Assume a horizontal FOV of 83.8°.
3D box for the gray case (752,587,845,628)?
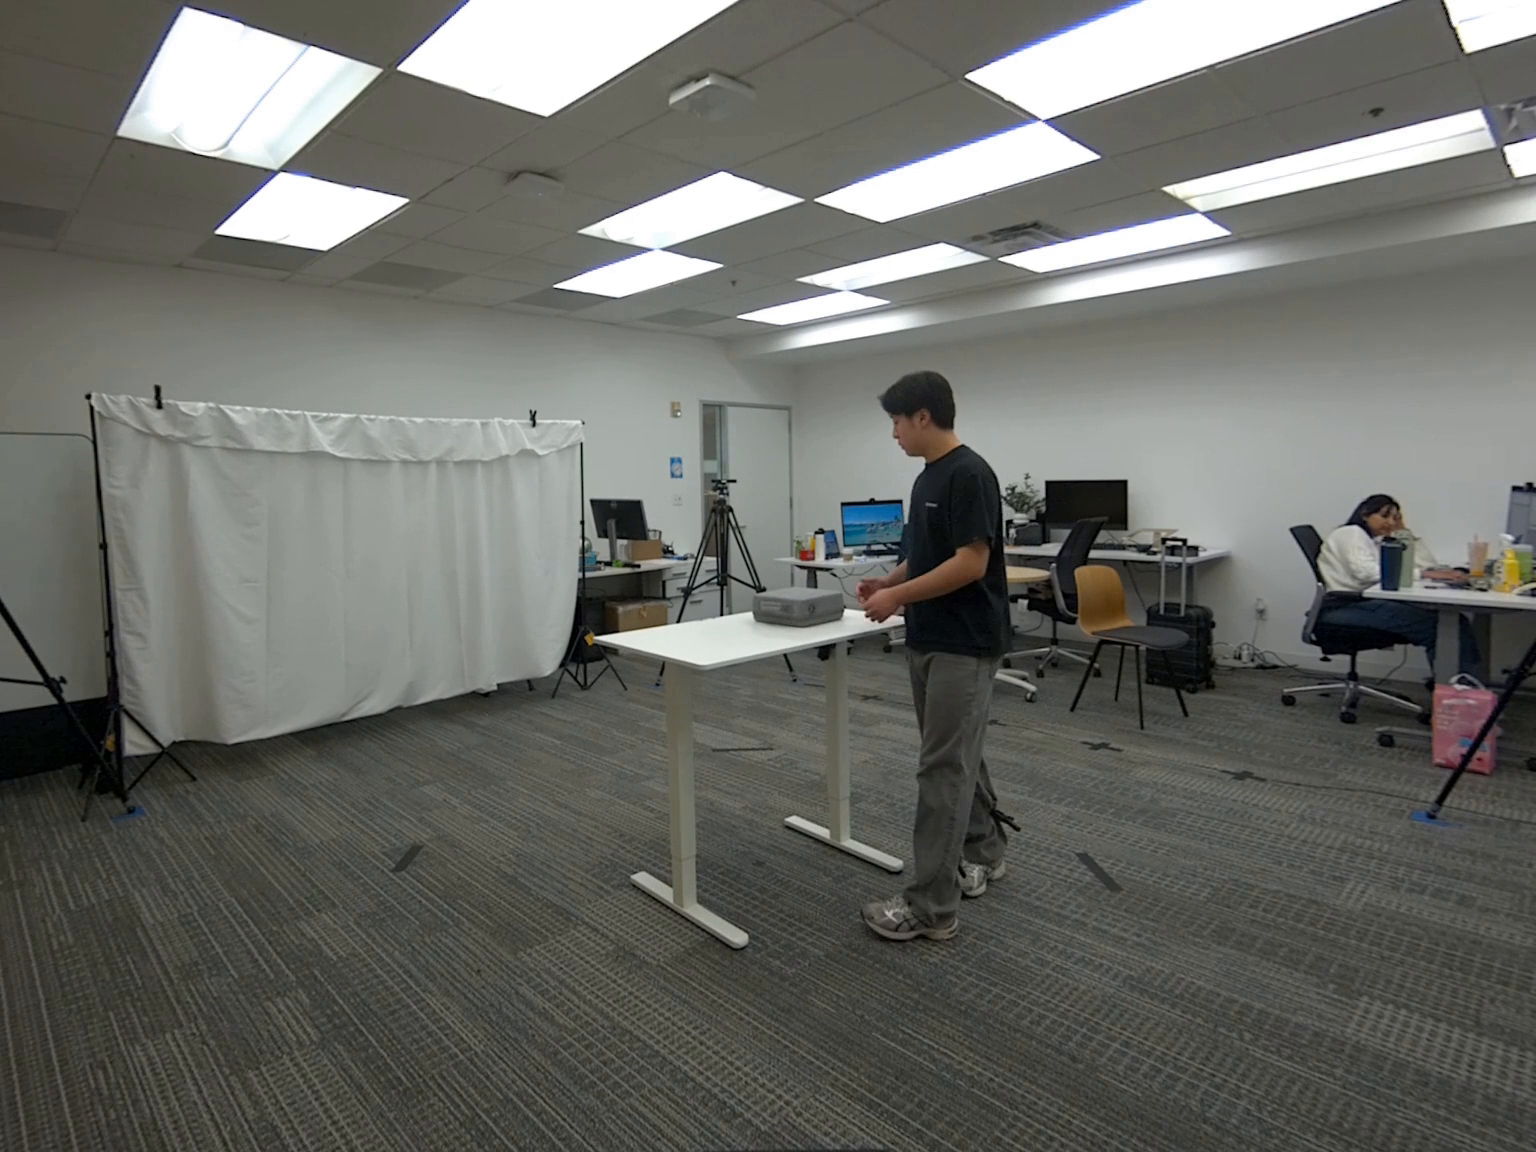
[{"bbox_3d":[0.101,0.111,3.084,0.271,0.102,0.280,5,9,44],"label":"gray case"}]
